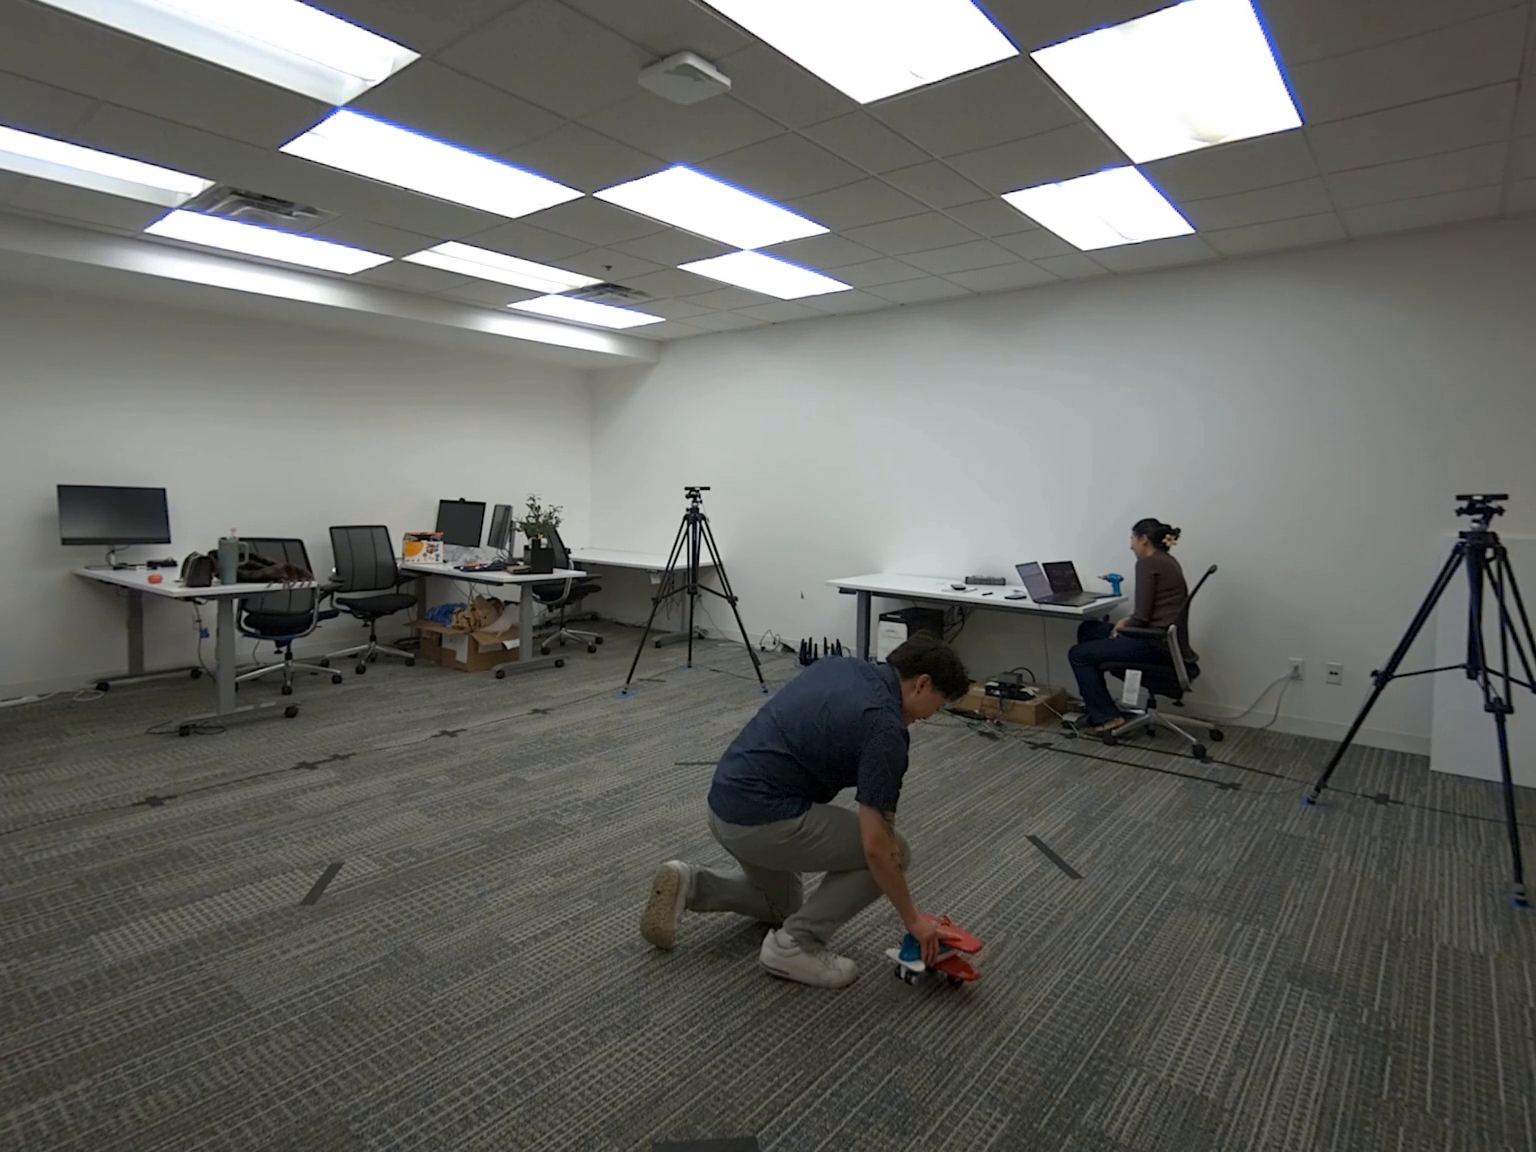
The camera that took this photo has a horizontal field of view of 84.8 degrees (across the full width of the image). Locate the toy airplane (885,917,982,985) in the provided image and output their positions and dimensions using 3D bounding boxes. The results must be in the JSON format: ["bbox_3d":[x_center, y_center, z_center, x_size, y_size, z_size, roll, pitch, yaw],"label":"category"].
[{"bbox_3d":[0.463,1.062,2.370,0.257,0.157,0.251,11,-8,21],"label":"toy airplane"}]
